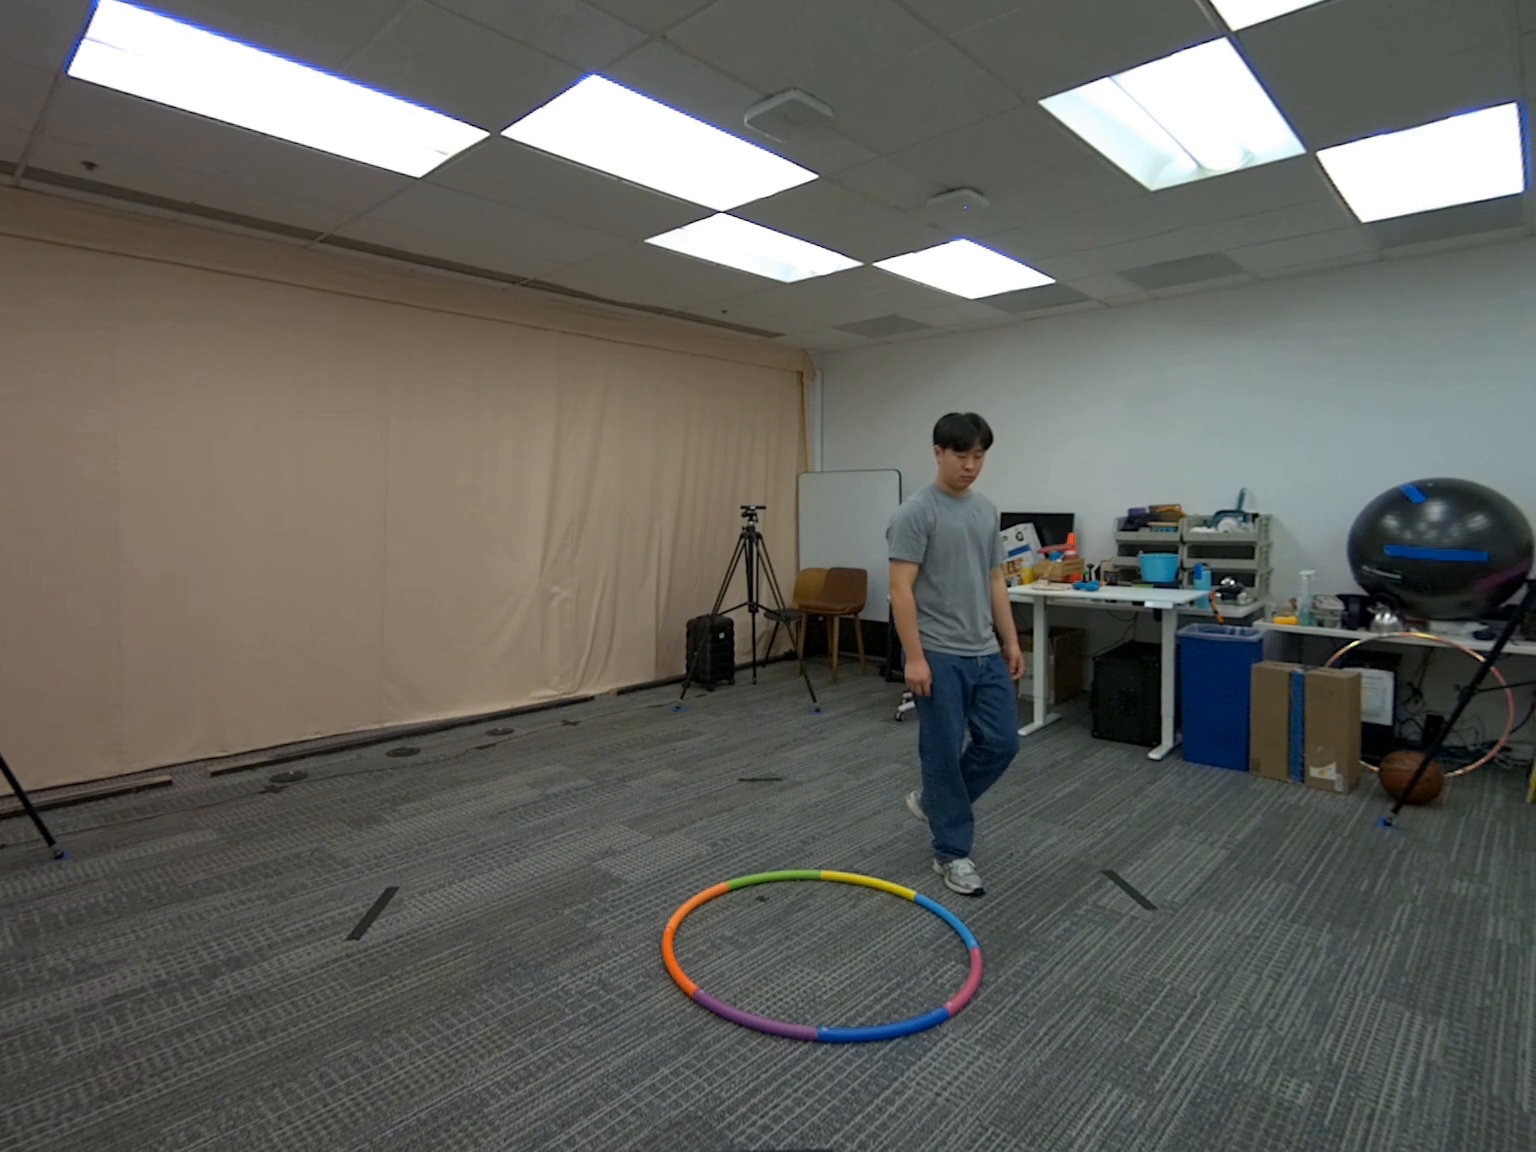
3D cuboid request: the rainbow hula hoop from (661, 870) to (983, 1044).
[{"bbox_3d":[0.160,1.140,2.668,0.978,0.035,0.982,0,5,-2],"label":"rainbow hula hoop"}]
